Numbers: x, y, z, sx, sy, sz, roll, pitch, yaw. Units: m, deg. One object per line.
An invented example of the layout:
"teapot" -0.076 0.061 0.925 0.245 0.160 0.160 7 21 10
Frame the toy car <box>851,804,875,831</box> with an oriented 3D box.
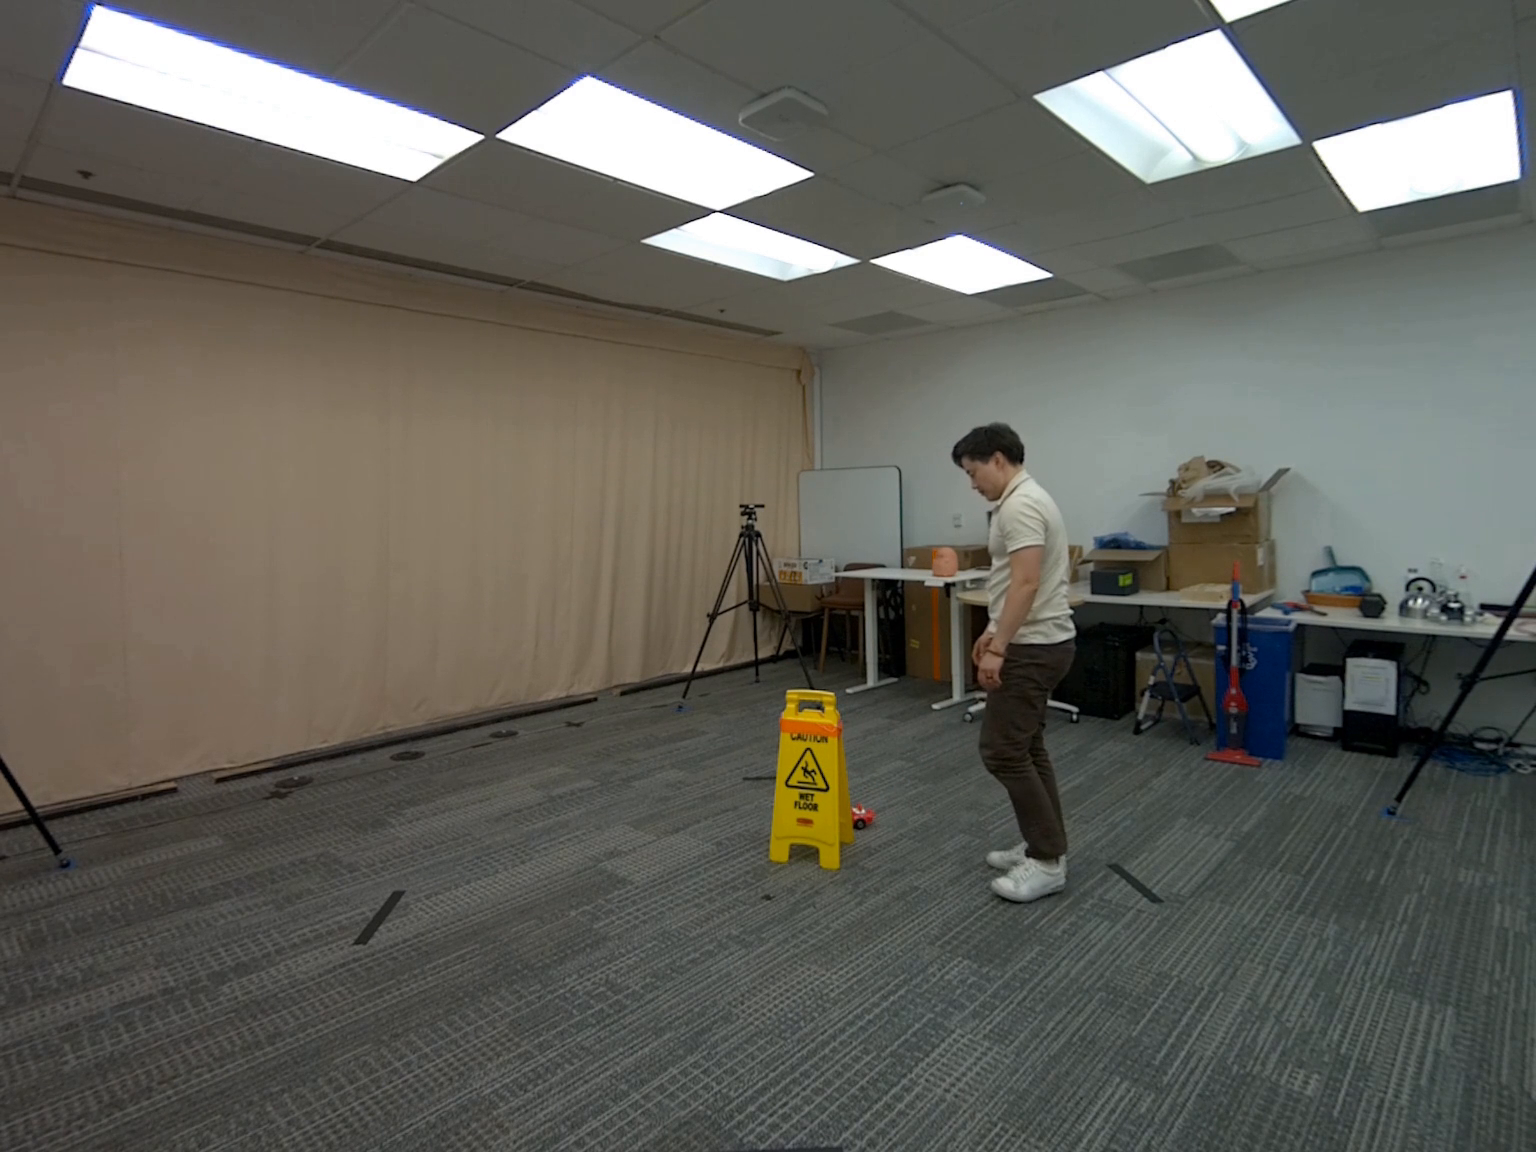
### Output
"toy car" 0.343 1.046 3.638 0.254 0.083 0.131 -13 6 -4
